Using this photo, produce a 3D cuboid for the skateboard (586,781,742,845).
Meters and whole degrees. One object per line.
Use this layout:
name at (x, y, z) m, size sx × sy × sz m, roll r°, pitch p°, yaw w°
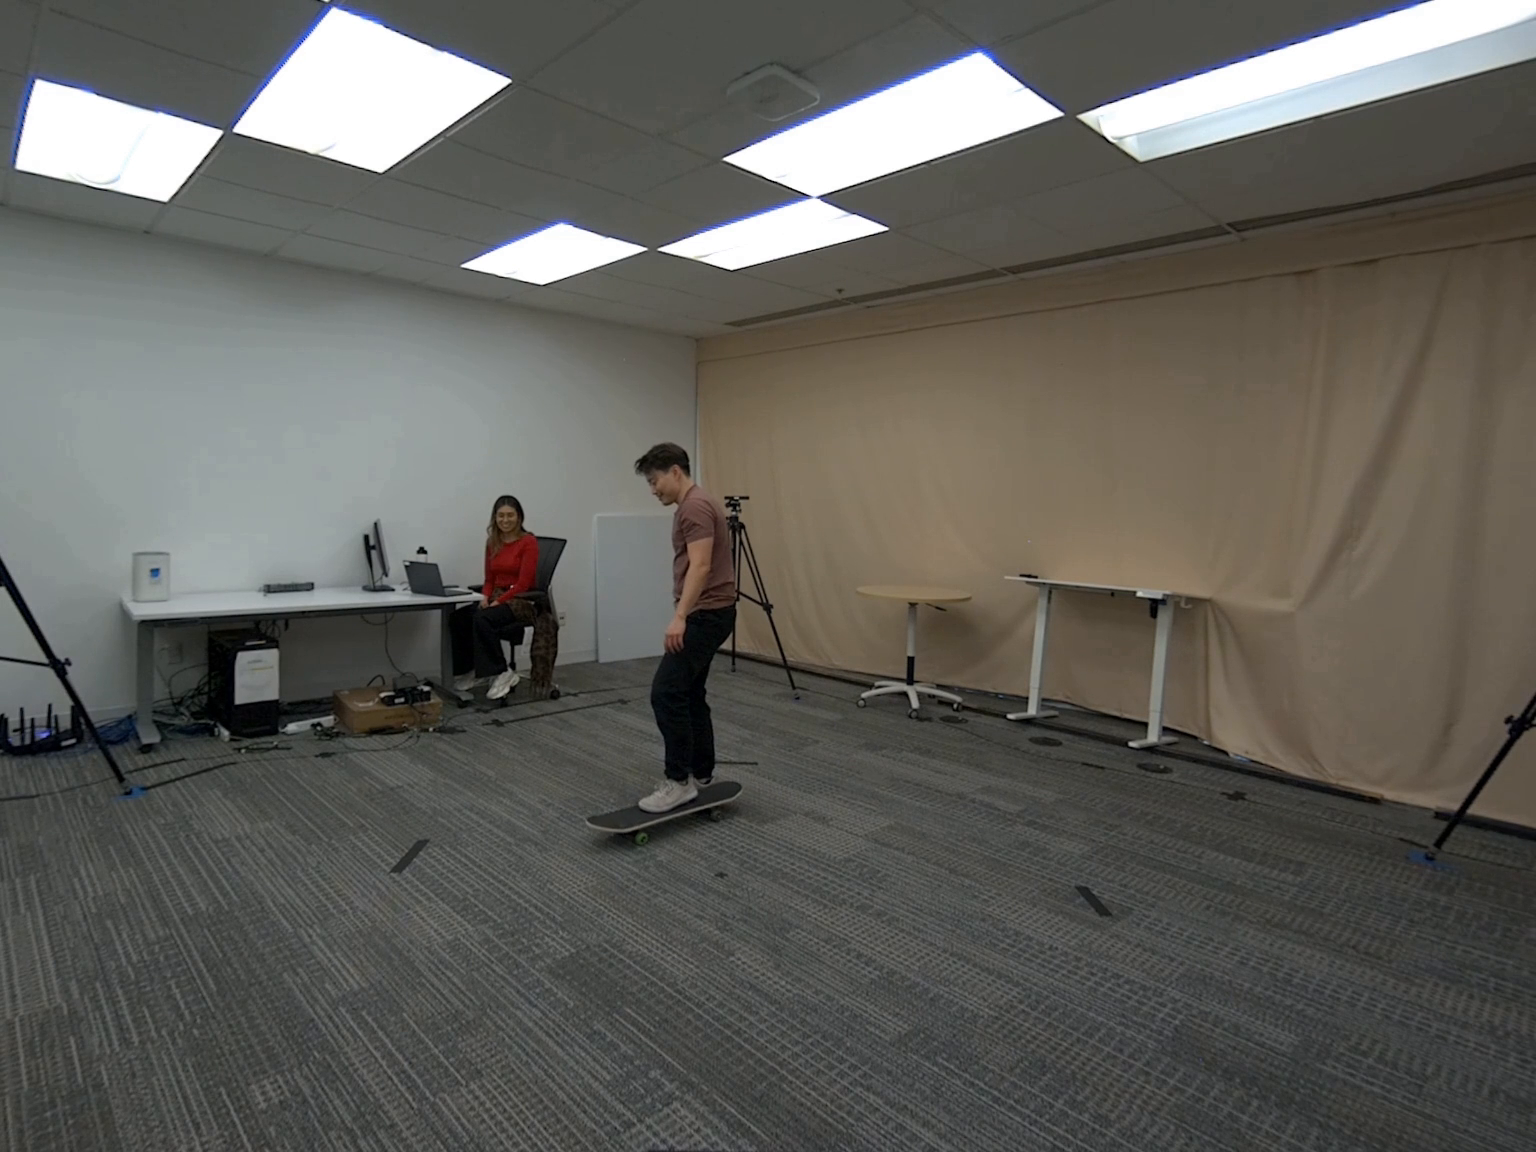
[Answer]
skateboard at (-0.433, 1.002, 3.554) m, size 0.767 × 0.110 × 0.198 m, roll -3°, pitch 5°, yaw -44°
